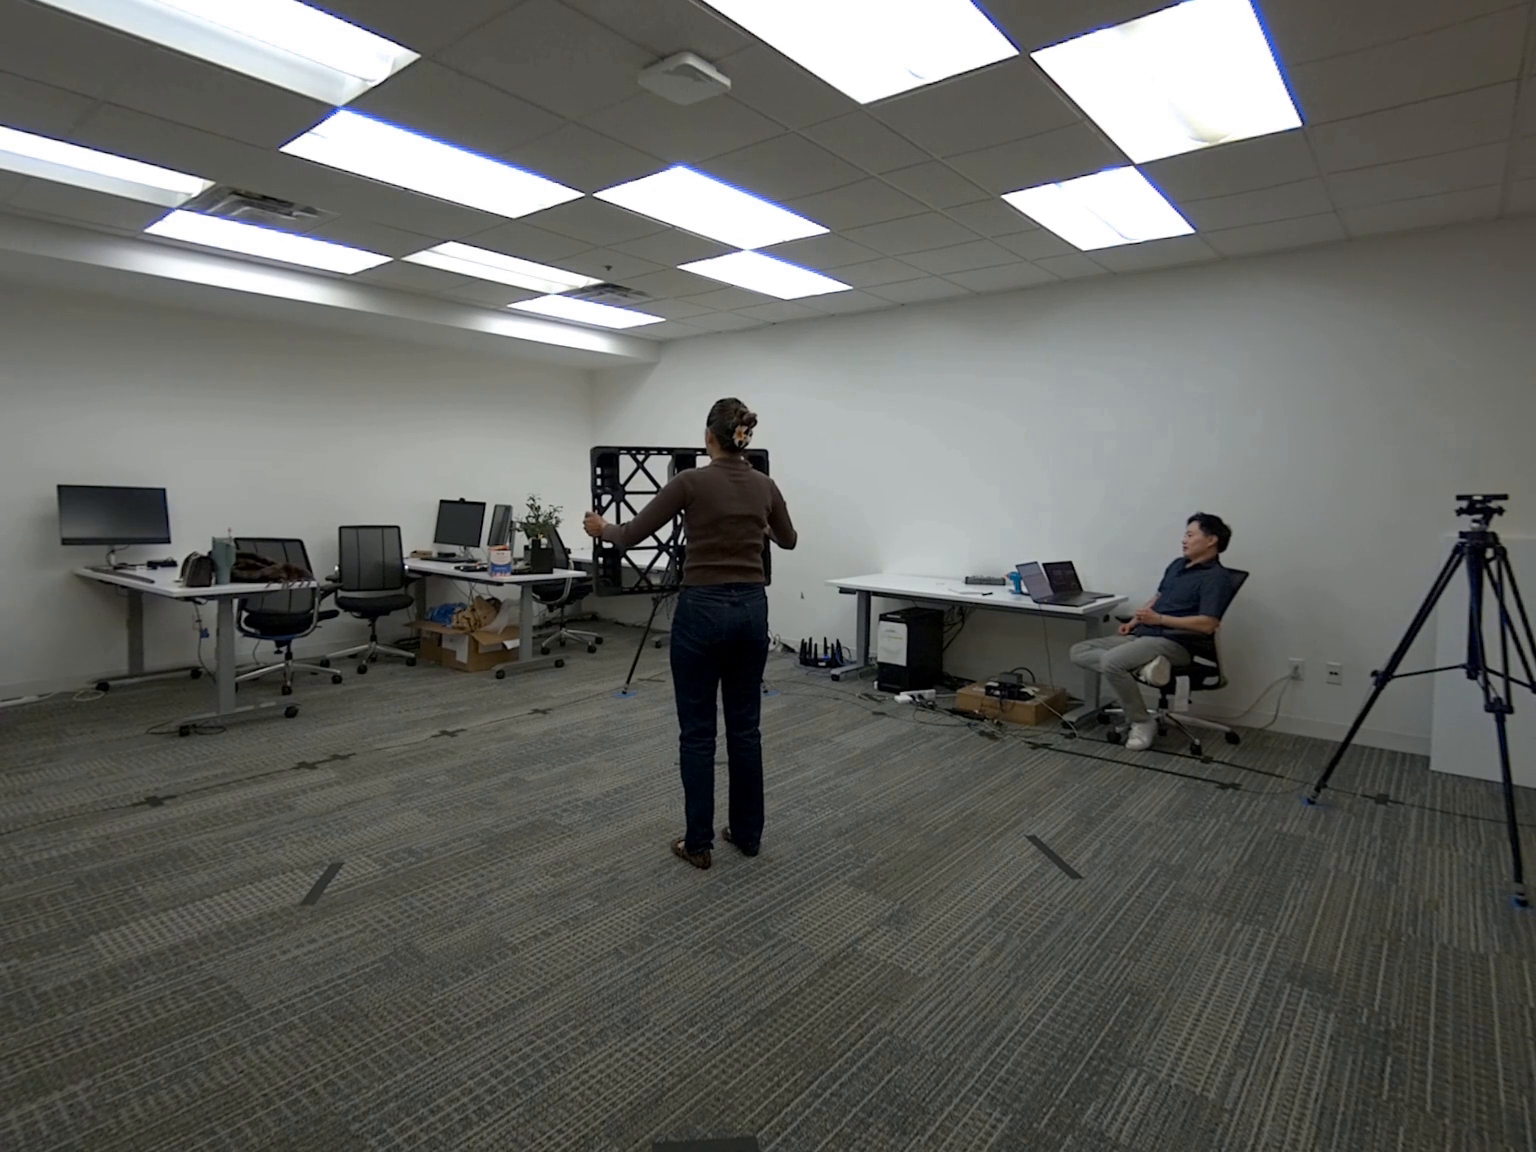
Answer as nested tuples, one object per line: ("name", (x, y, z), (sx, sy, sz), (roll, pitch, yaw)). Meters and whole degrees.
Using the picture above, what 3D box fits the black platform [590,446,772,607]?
("black platform", (-0.377, -0.237, 3.584), (0.787, 0.604, 0.147), (-2, 2, -25))
